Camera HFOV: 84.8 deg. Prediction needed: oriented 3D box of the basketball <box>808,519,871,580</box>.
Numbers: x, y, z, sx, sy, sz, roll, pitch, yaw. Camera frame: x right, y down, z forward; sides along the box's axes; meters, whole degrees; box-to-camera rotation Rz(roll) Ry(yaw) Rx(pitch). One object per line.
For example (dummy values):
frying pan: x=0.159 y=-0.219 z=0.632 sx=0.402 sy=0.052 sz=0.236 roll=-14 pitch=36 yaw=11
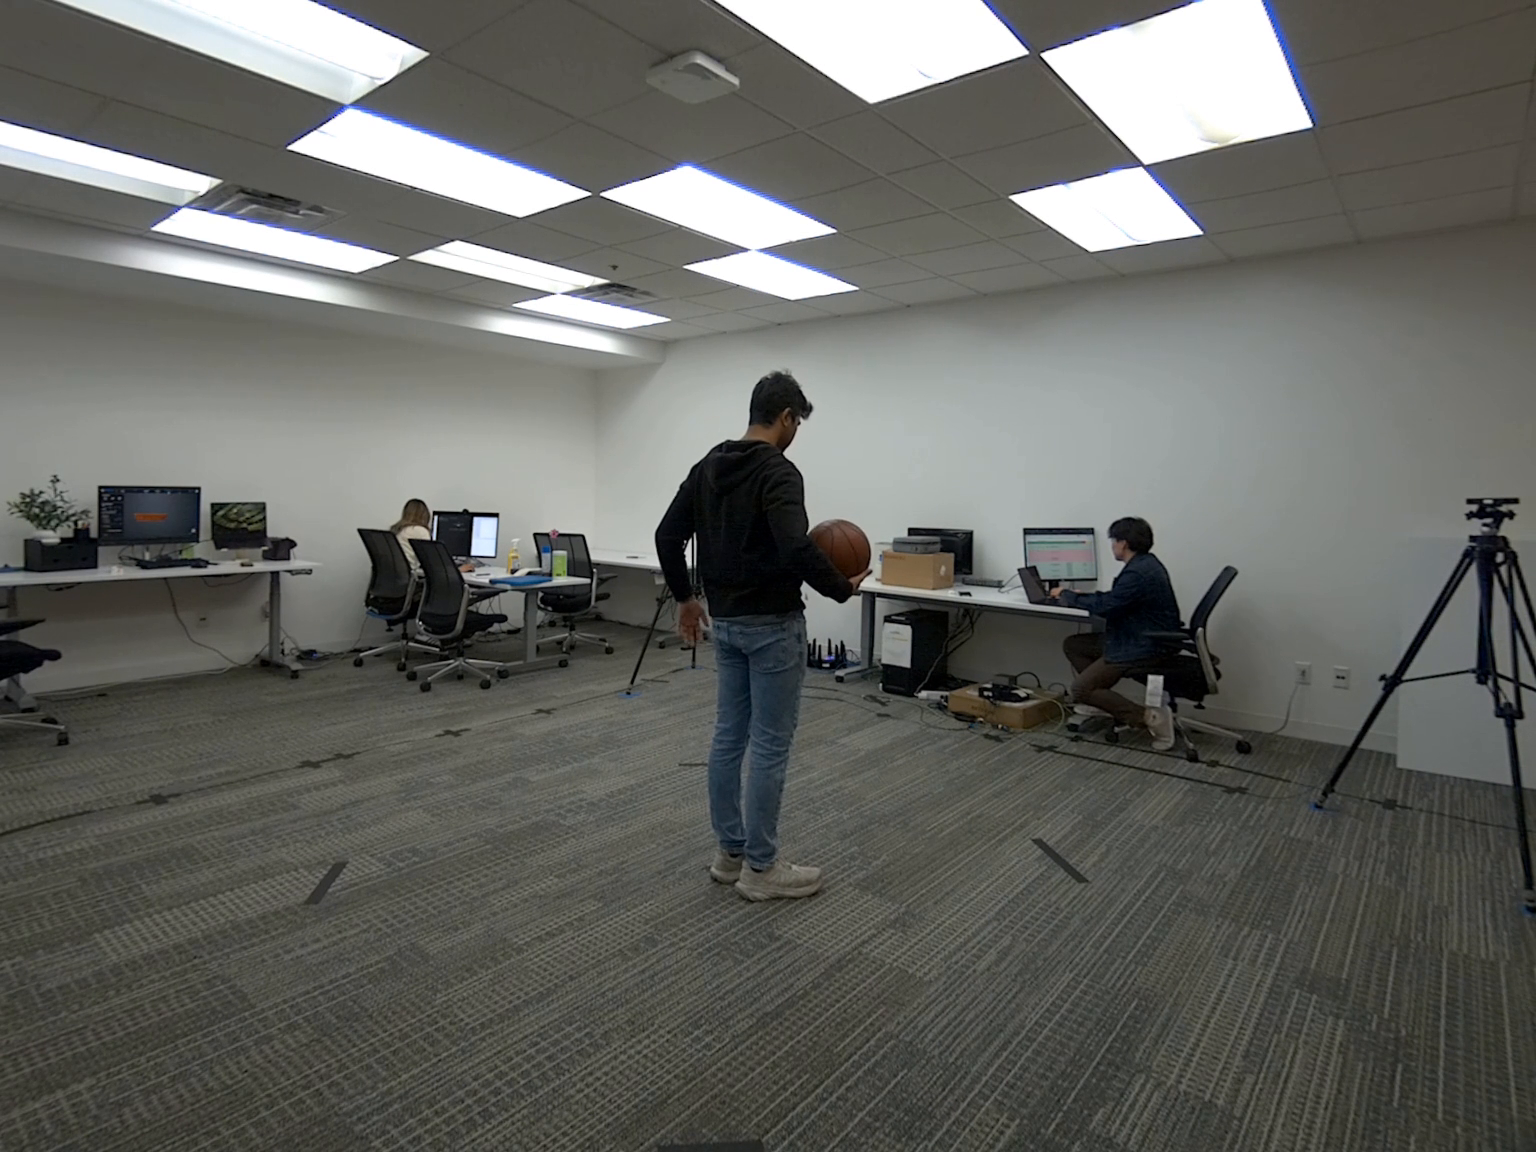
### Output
basketball: x=0.219 y=-0.079 z=2.934 sx=0.235 sy=0.235 sz=0.237 roll=1 pitch=4 yaw=-2
